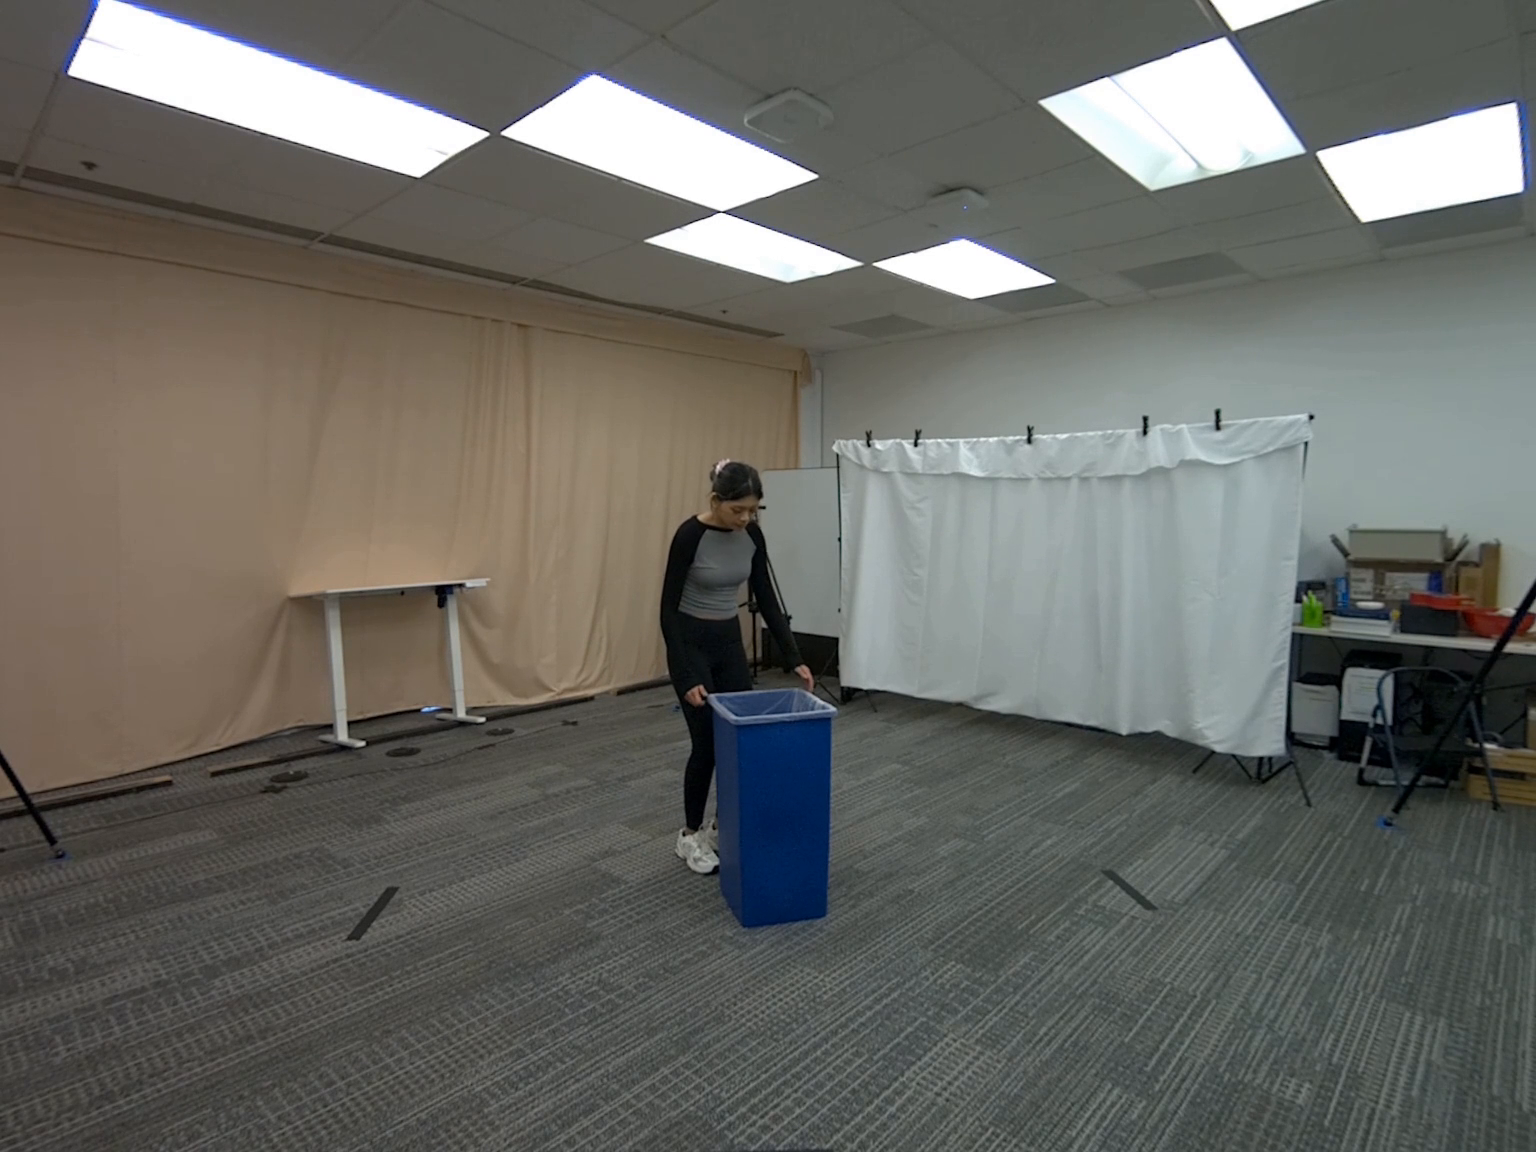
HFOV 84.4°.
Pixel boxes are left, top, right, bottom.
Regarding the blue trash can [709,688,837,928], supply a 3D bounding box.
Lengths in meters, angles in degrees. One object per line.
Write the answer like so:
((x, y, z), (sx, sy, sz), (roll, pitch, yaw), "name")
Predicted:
((0.009, 0.789, 2.943), (0.372, 0.712, 0.381), (-2, 3, -17), "blue trash can")
